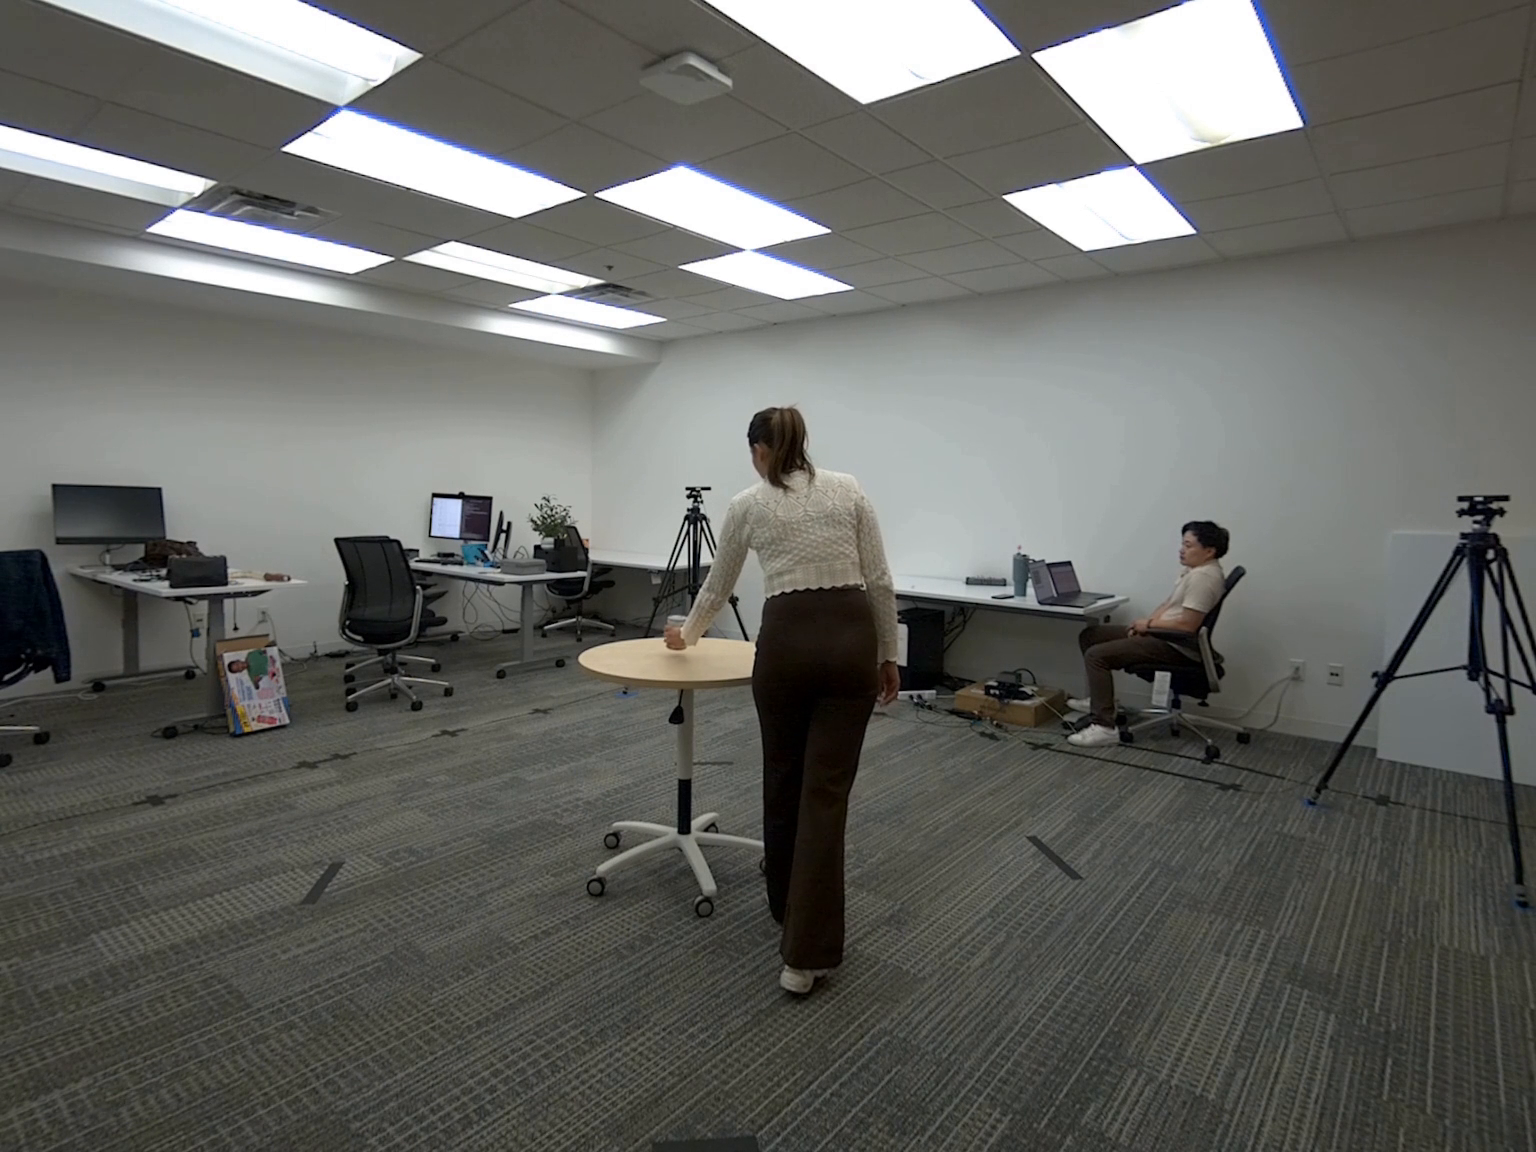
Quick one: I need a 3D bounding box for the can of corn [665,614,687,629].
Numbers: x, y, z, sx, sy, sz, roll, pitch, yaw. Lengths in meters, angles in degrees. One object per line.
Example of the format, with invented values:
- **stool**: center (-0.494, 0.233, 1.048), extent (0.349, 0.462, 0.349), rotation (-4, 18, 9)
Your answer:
- **can of corn**: center (-0.332, 0.201, 3.046), extent (0.074, 0.110, 0.075), rotation (2, 8, -2)
